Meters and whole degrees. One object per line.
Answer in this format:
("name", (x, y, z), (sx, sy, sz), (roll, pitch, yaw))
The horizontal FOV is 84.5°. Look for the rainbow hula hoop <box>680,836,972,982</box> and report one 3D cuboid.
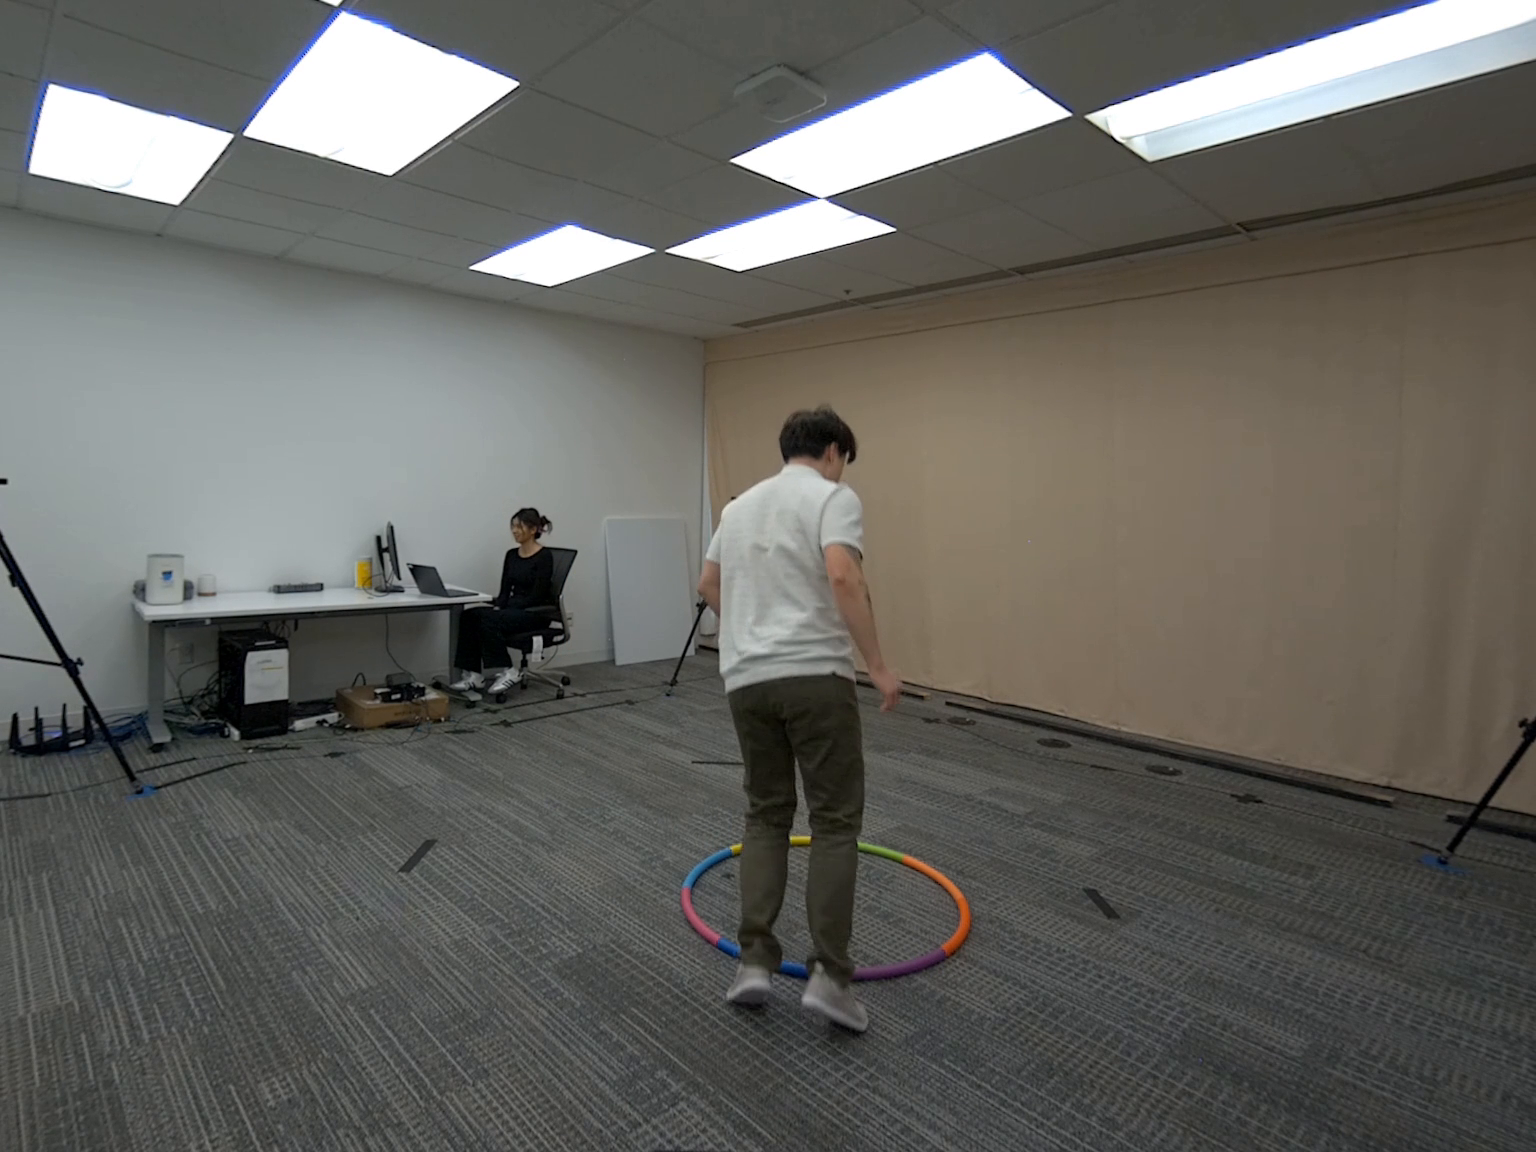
("rainbow hula hoop", (0.181, 1.102, 2.922), (0.978, 0.035, 0.982), (1, 6, -1))
